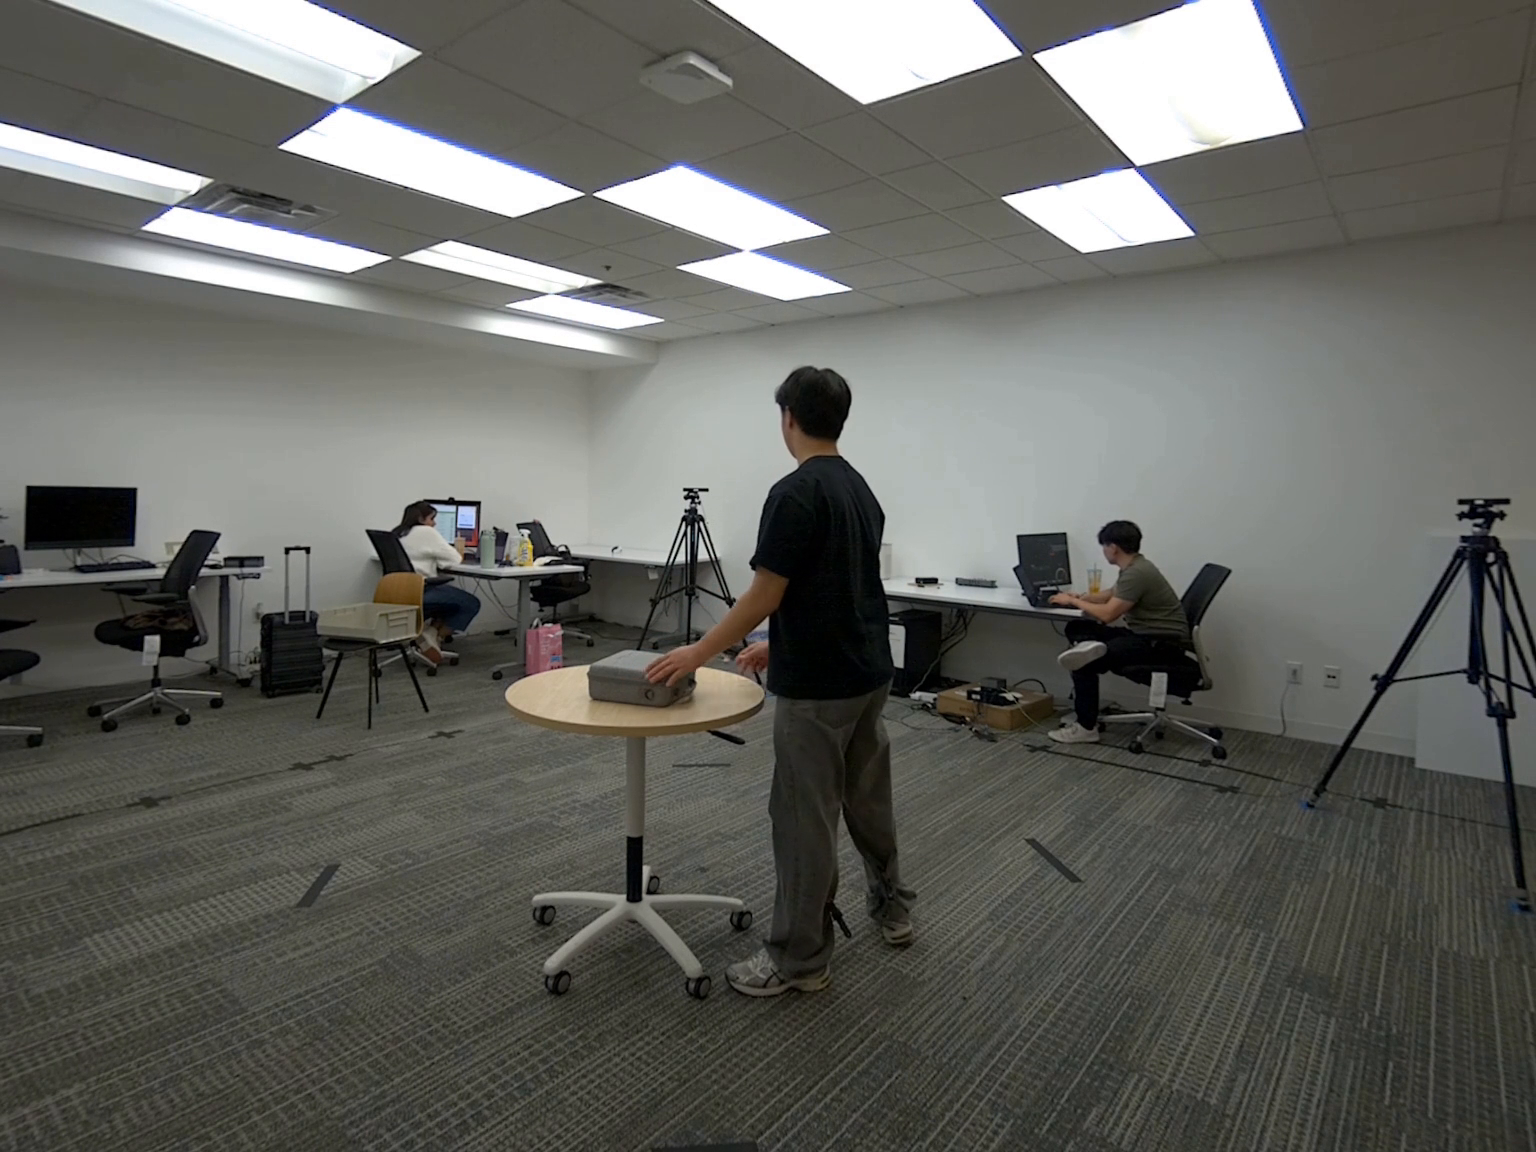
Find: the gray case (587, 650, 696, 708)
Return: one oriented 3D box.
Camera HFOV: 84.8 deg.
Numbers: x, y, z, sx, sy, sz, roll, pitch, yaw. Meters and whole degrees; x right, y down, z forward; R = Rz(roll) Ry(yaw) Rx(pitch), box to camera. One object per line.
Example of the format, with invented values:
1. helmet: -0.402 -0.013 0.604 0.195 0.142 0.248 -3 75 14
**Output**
1. gray case: -0.363 0.297 2.487 0.293 0.102 0.259 4 7 18
